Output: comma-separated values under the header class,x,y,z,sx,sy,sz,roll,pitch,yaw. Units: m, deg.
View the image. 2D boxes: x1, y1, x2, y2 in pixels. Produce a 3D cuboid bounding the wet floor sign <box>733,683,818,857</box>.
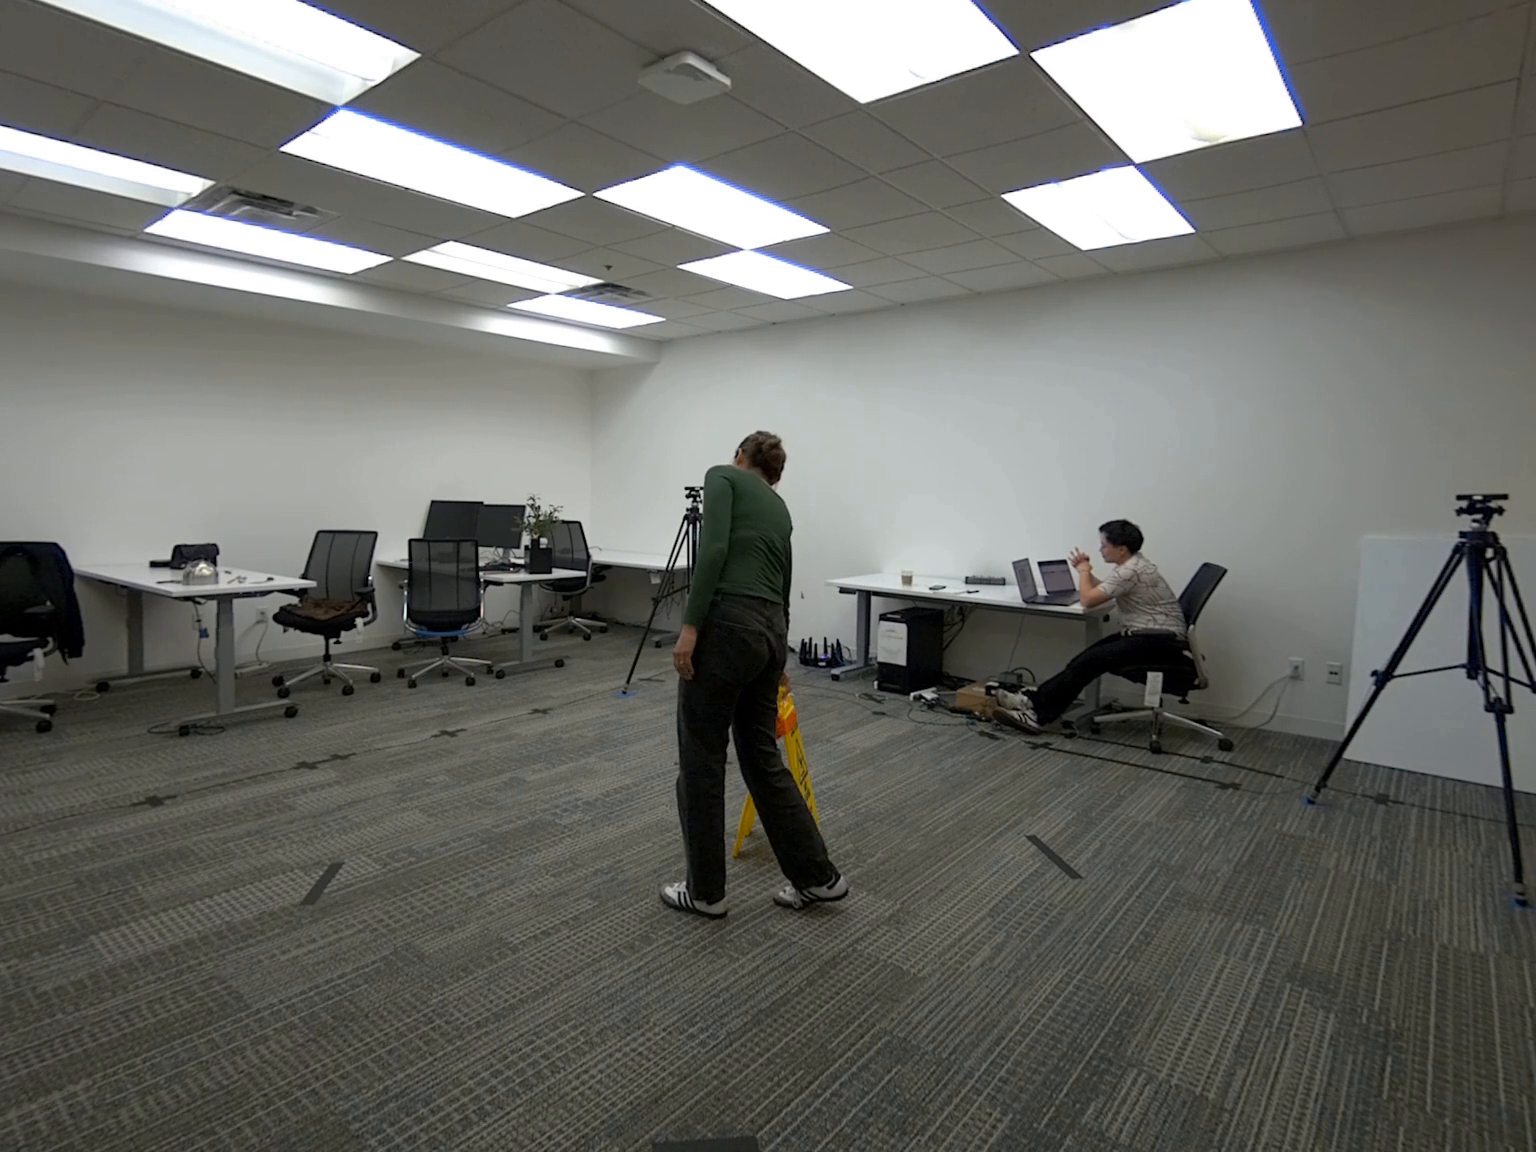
class,x,y,z,sx,sy,sz,roll,pitch,yaw
wet floor sign,0.035,0.730,3.282,0.294,0.645,0.278,1,2,14
